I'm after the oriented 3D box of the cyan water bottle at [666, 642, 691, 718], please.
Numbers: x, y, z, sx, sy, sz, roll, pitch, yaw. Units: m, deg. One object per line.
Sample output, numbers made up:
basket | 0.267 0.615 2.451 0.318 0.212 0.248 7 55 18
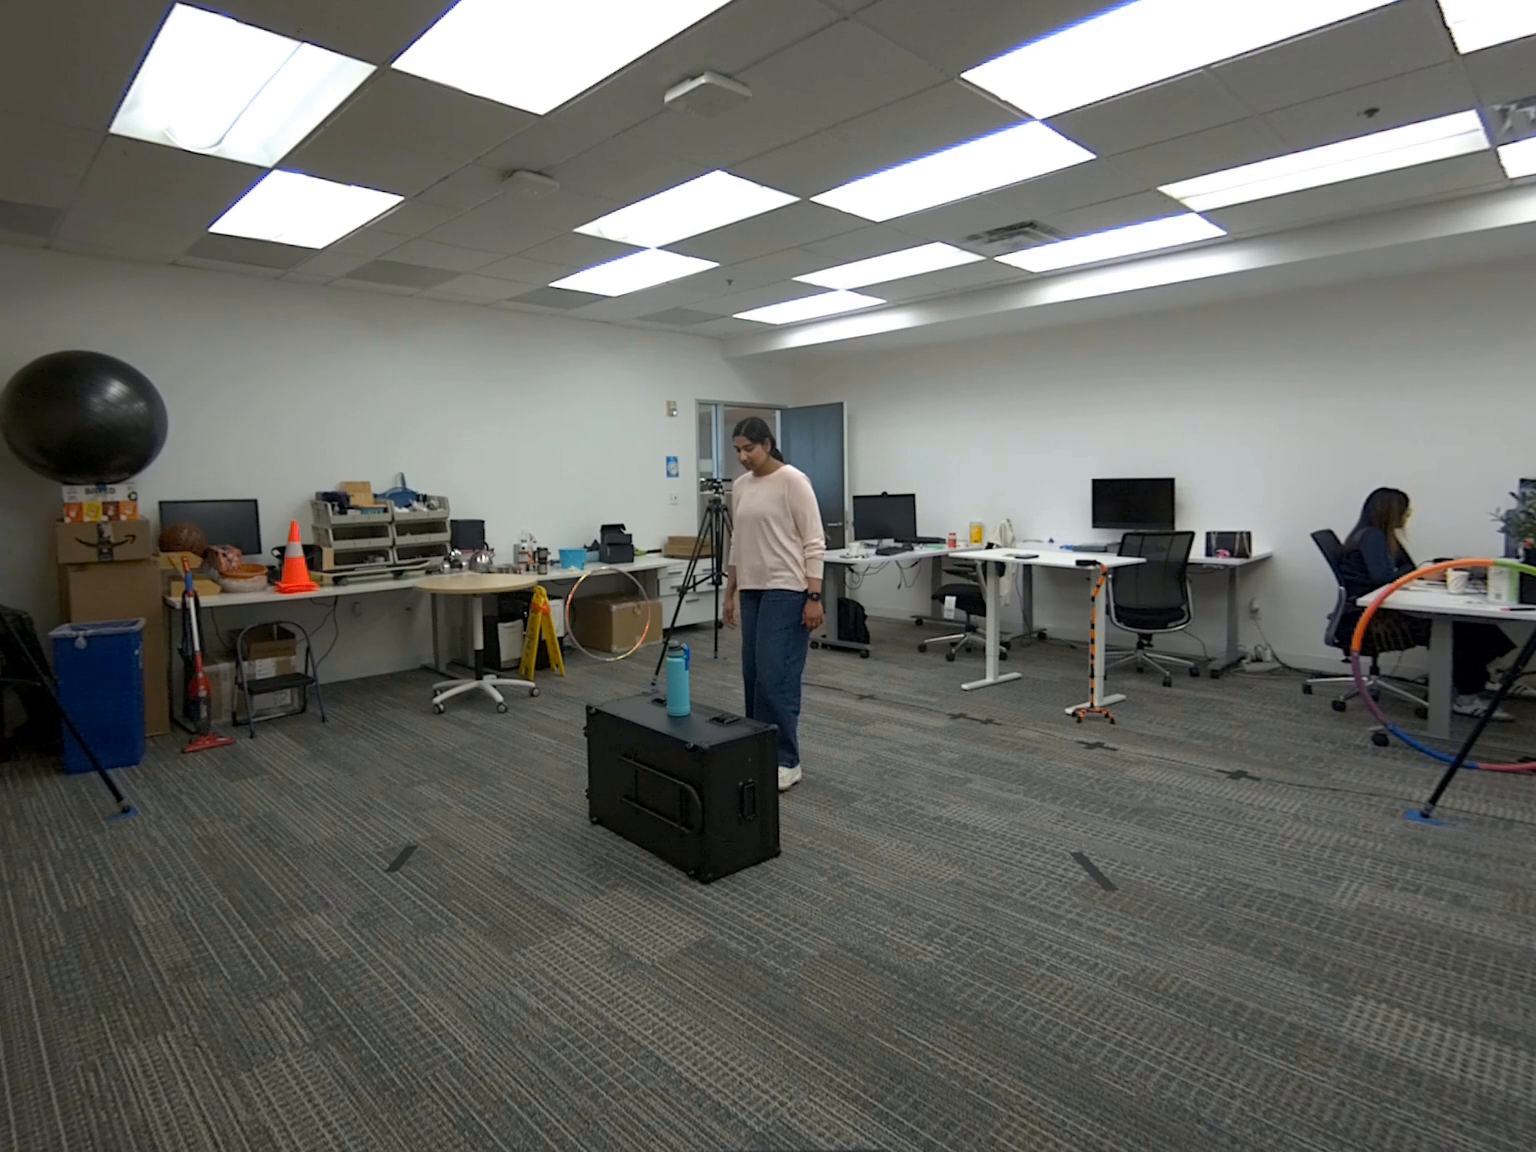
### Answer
cyan water bottle | -0.352 0.400 3.358 0.092 0.283 0.093 0 3 -2
